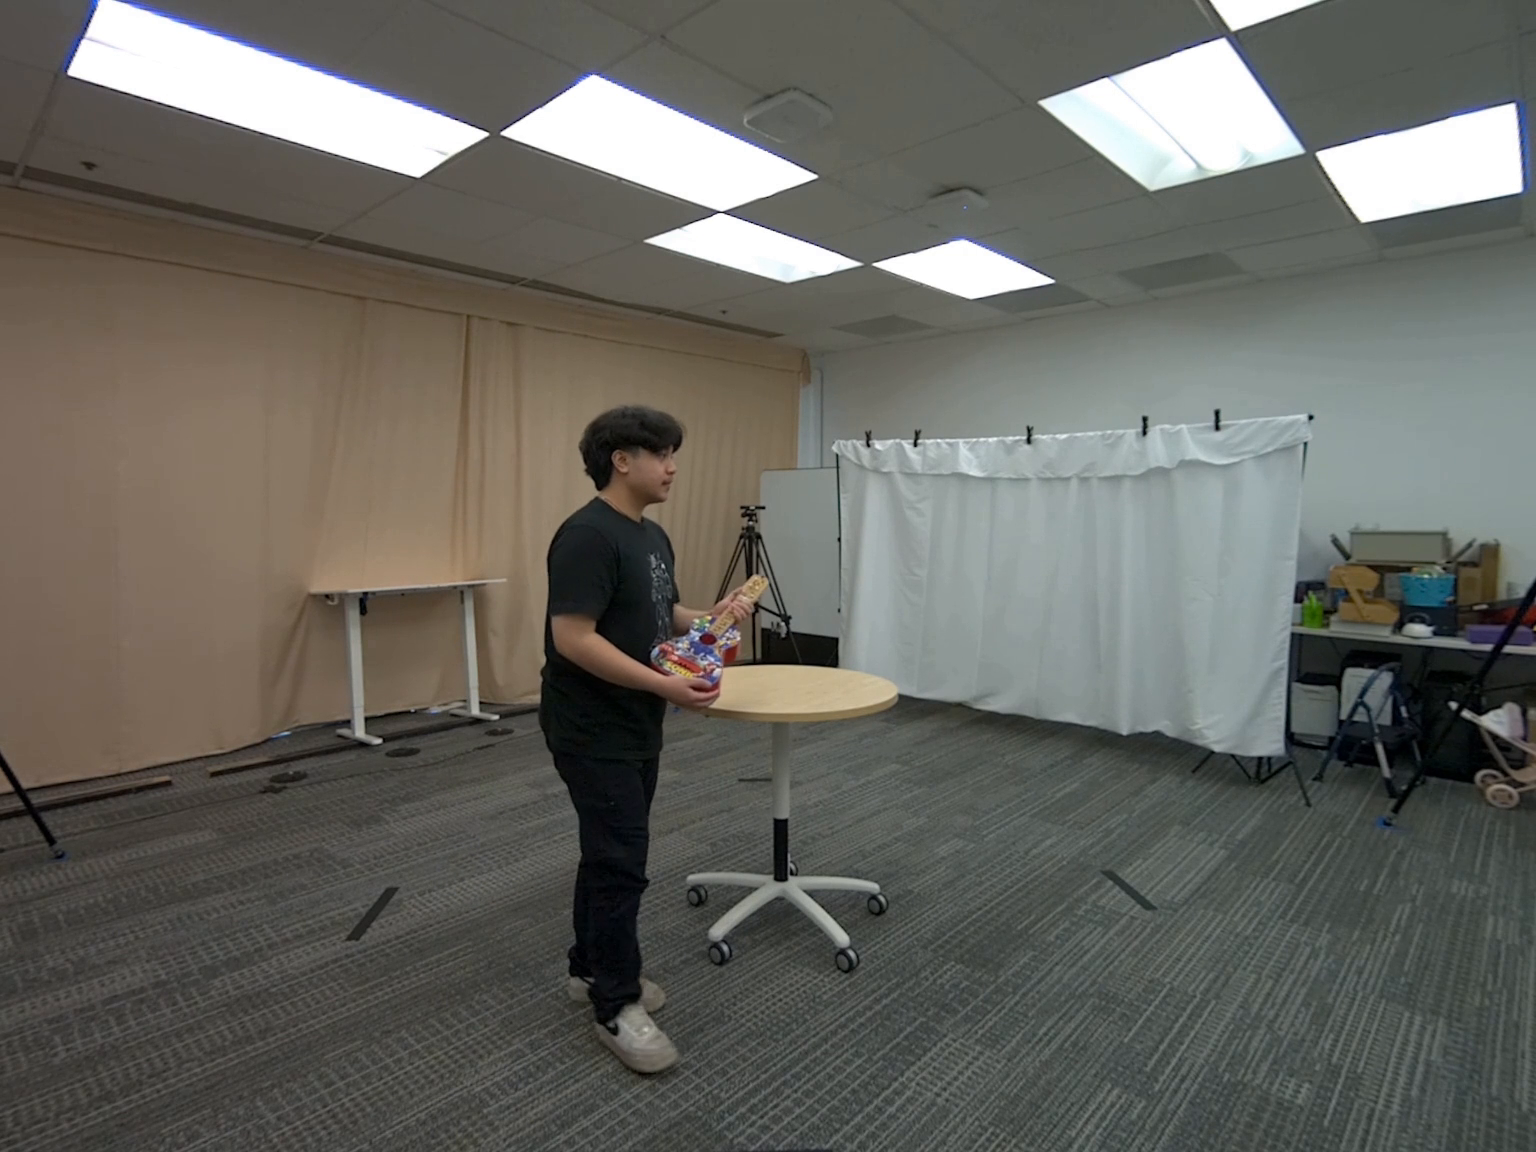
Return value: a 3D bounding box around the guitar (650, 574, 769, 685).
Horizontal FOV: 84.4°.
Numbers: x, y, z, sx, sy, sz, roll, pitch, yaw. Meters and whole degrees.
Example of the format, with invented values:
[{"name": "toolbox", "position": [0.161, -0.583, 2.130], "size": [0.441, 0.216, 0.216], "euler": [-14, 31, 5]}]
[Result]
[{"name": "guitar", "position": [-0.096, 0.165, 2.259], "size": [0.198, 0.070, 0.491], "euler": [28, 42, 22]}]
